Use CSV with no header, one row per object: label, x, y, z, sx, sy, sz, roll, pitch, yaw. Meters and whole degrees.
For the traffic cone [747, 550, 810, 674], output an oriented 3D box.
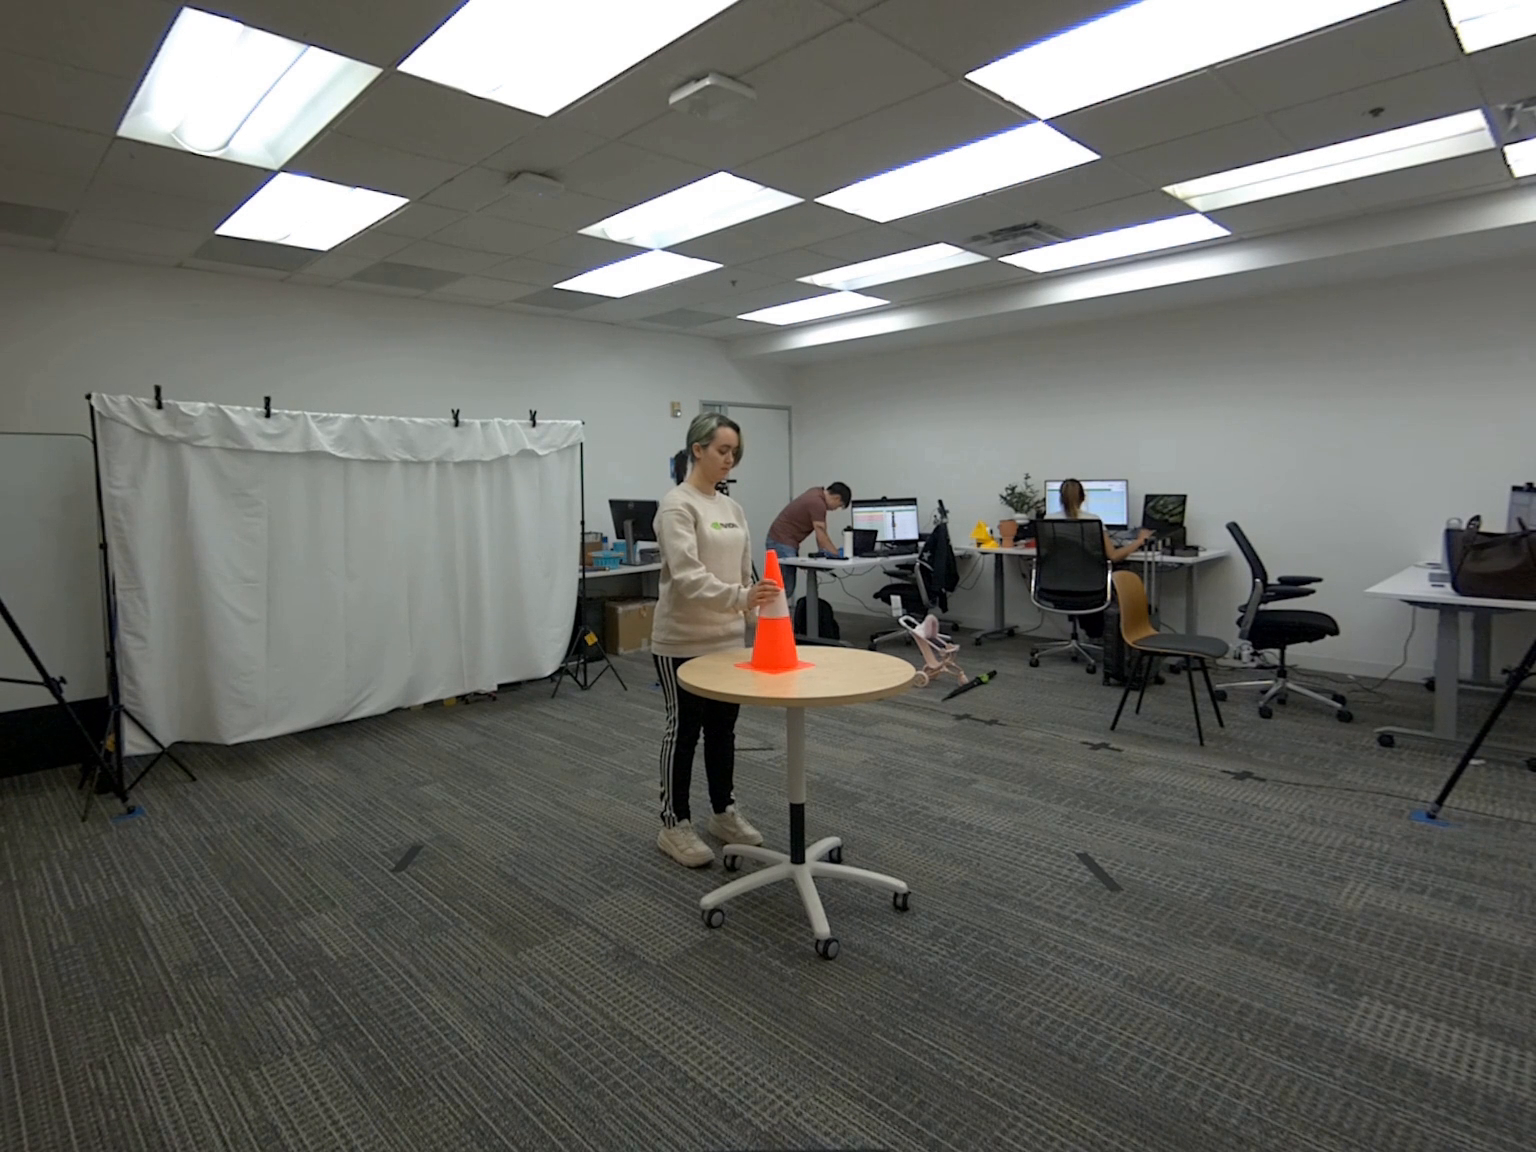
traffic cone,0.018,0.110,2.809,0.209,0.382,0.200,1,5,36
